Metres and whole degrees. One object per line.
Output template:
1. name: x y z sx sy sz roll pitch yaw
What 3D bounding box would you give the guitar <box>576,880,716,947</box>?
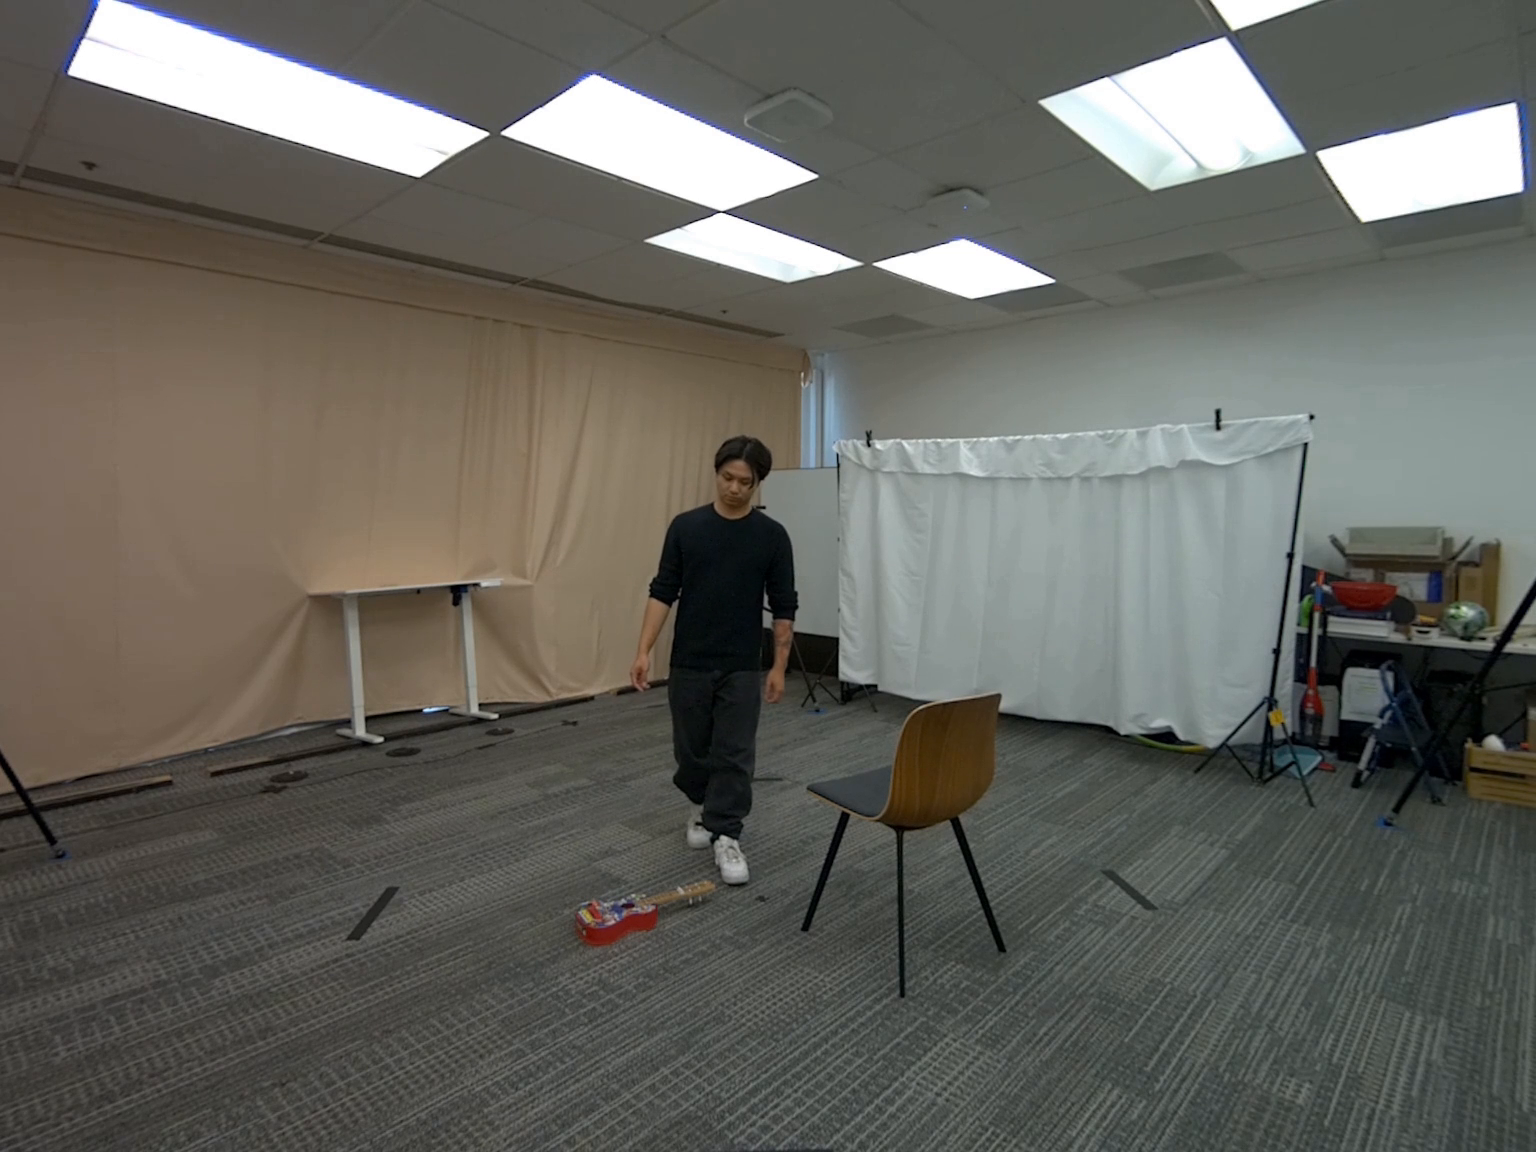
1. guitar: -0.402 1.130 2.817 0.488 0.070 0.197 -2 5 -19
